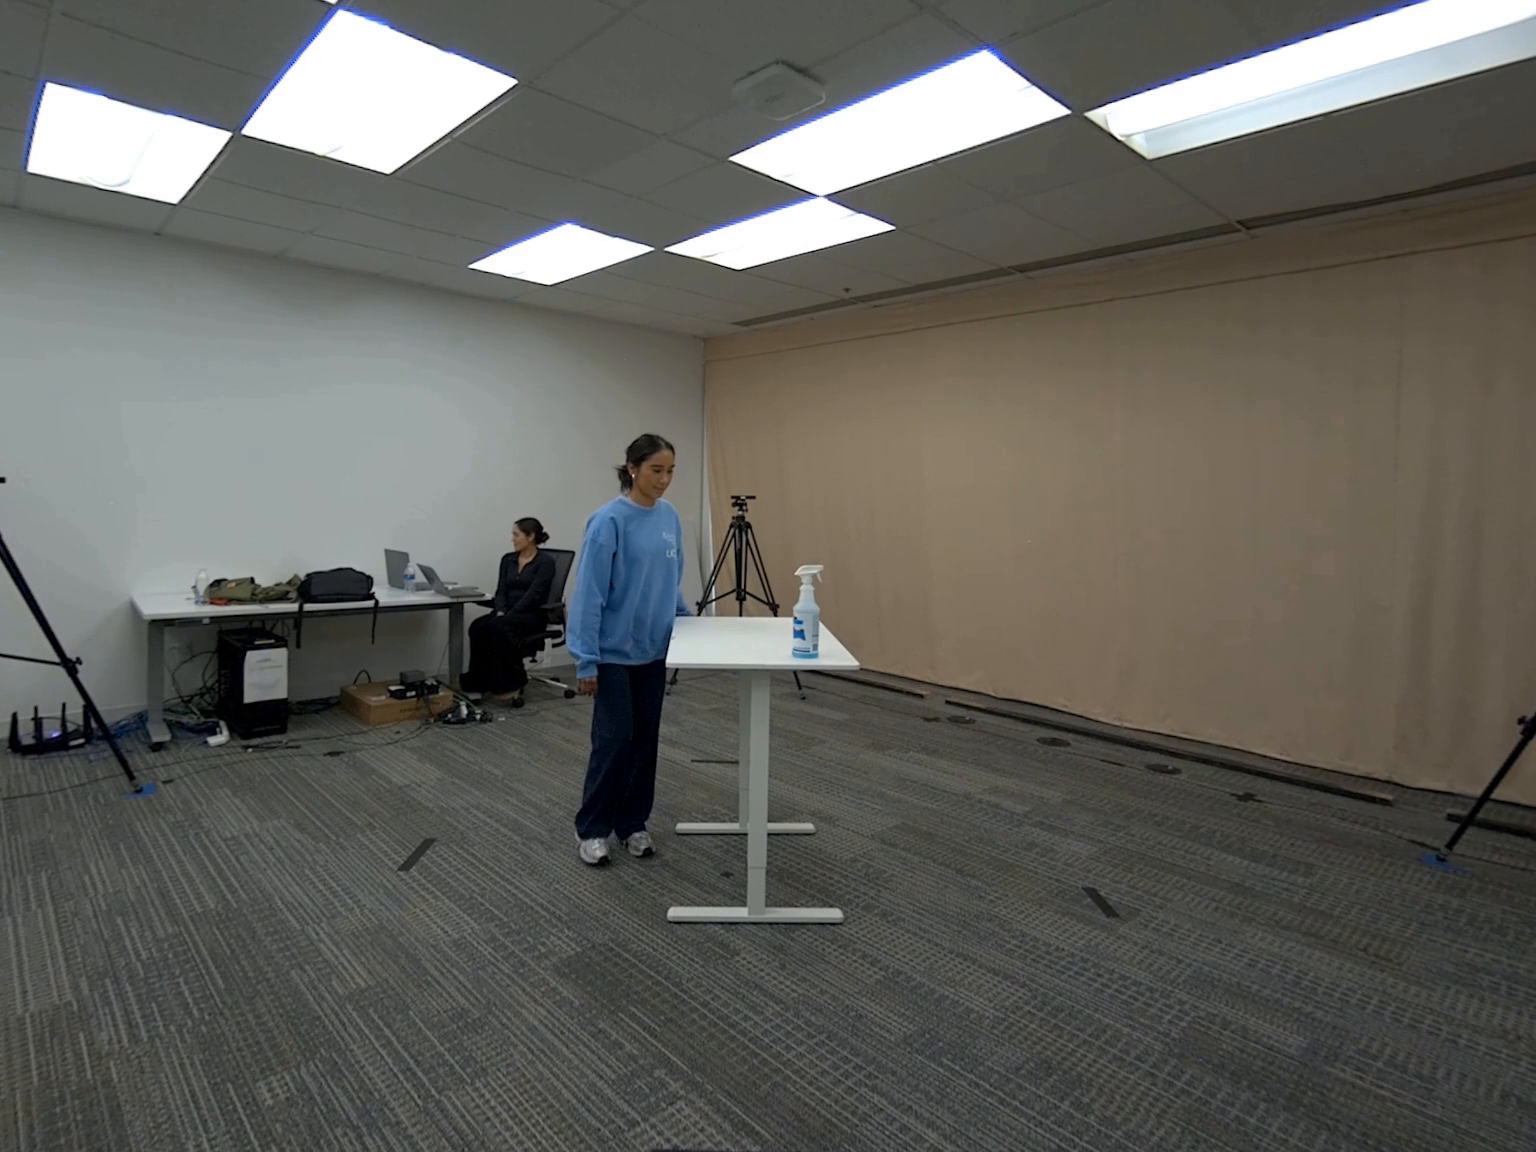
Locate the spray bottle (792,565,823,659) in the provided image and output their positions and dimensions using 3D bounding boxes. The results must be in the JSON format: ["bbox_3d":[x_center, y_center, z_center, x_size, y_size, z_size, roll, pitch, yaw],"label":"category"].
[{"bbox_3d":[0.121,0.117,2.718,0.091,0.297,0.086,2,1,15],"label":"spray bottle"}]
